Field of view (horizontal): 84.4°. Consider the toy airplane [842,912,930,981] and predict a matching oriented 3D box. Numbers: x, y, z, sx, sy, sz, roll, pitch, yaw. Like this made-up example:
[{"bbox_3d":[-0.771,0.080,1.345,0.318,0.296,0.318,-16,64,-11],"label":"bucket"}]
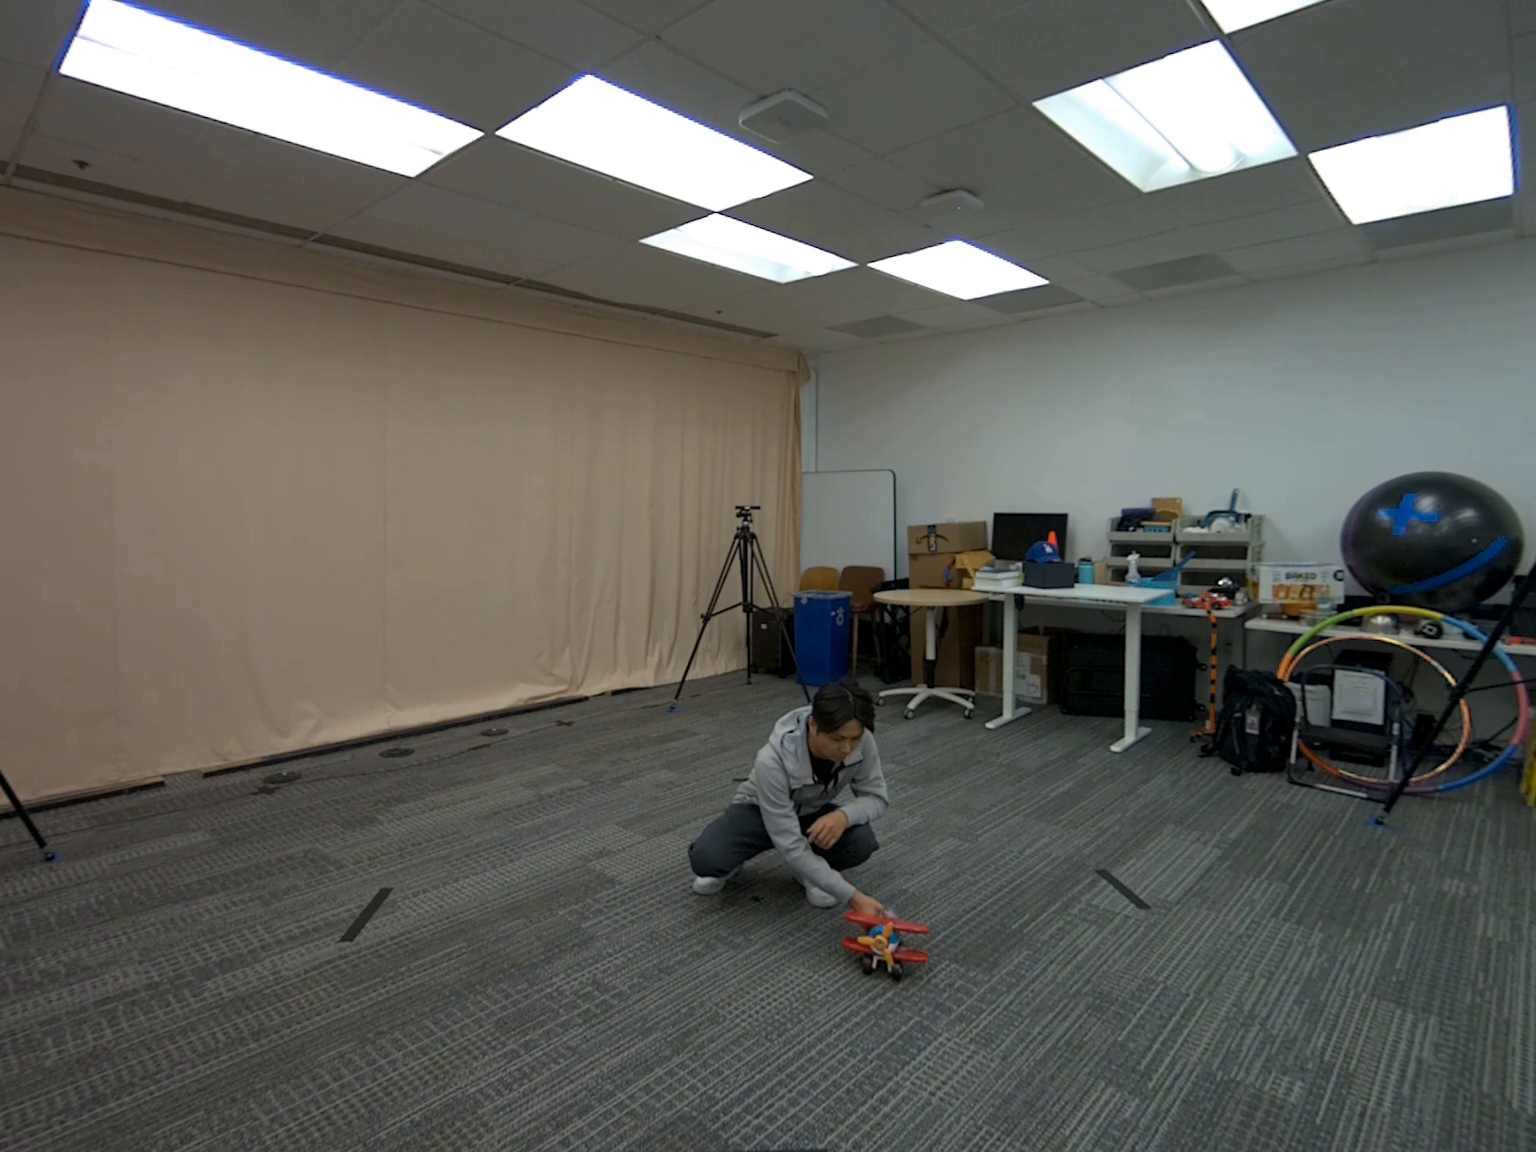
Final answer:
[{"bbox_3d":[0.346,1.100,2.577,0.248,0.156,0.263,1,6,-10],"label":"toy airplane"}]
